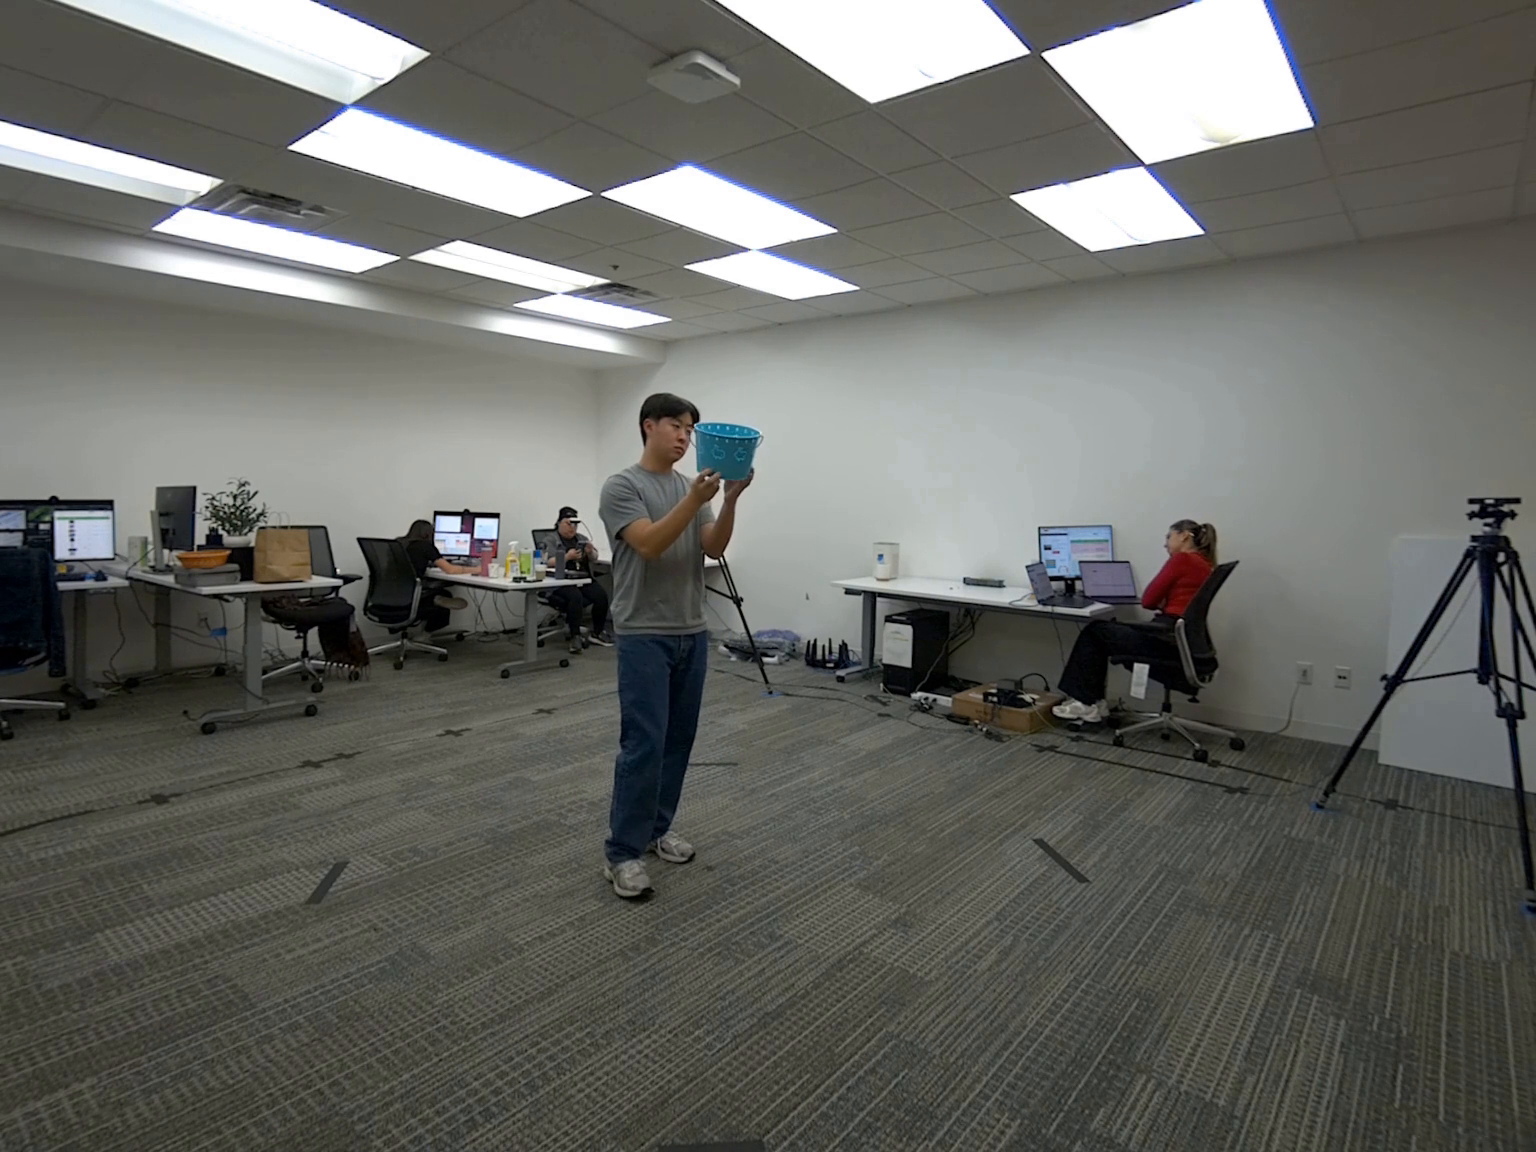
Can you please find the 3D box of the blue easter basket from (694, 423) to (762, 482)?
[{"bbox_3d":[-0.153,-0.426,2.875,0.243,0.154,0.248,7,18,-4],"label":"blue easter basket"}]
